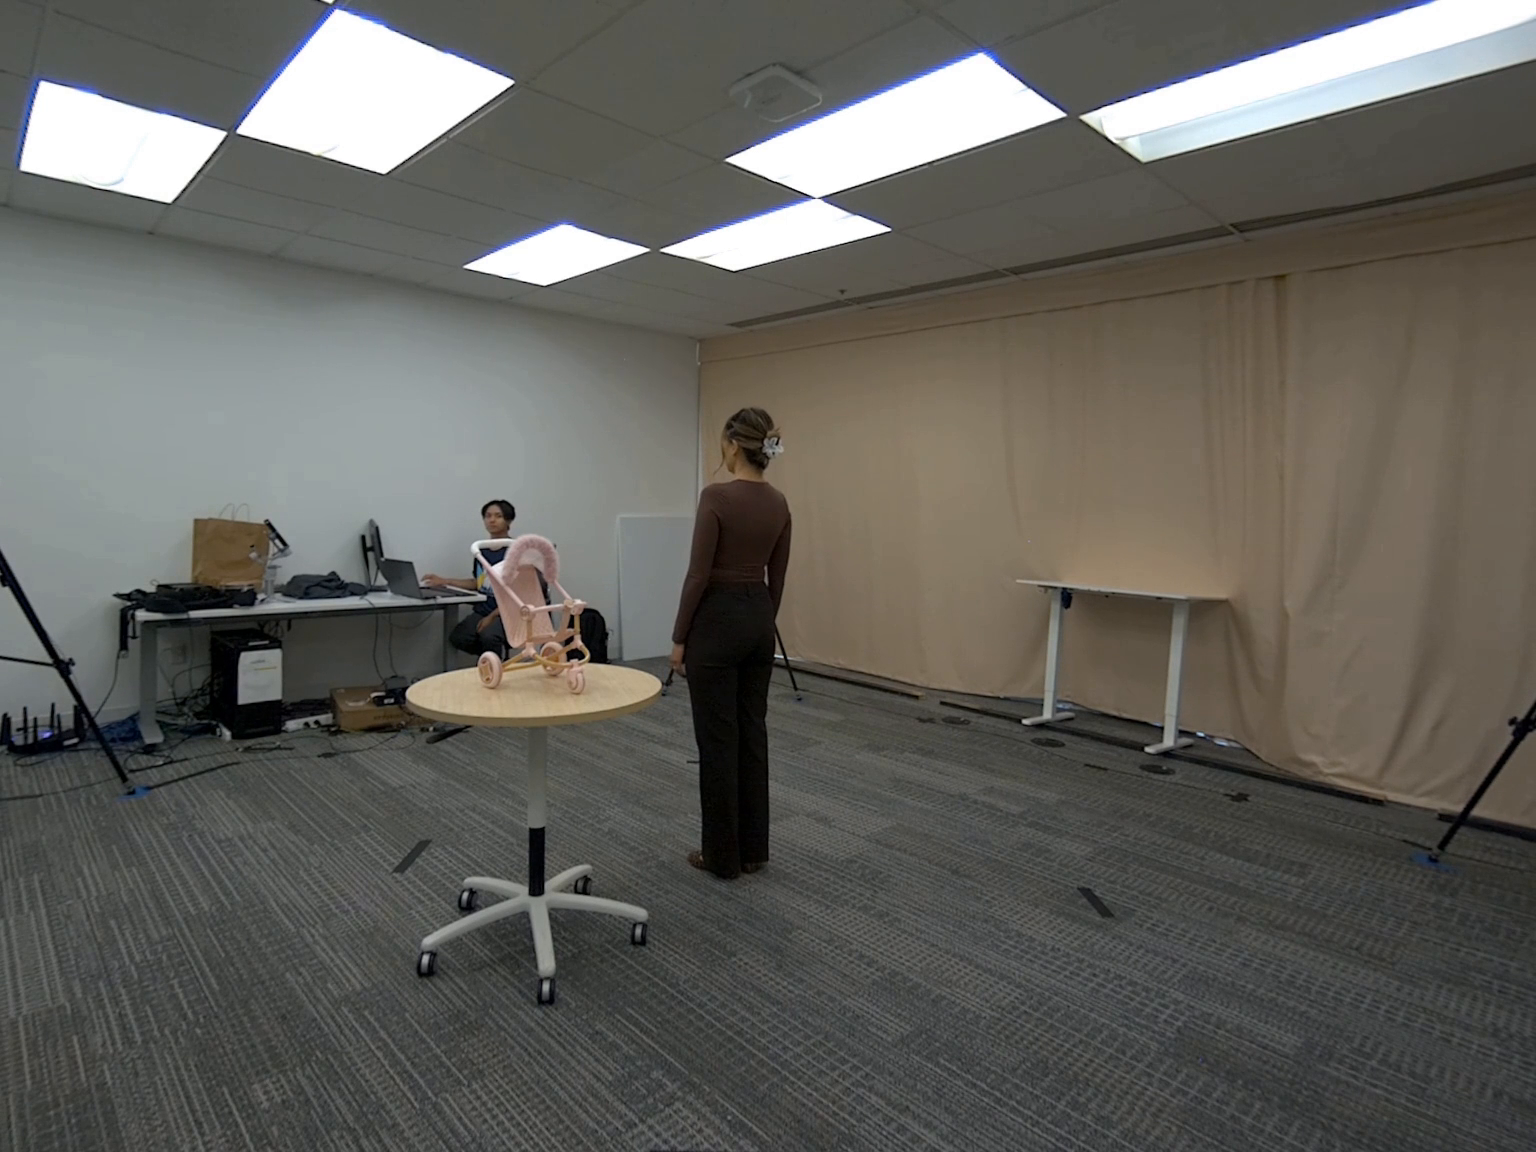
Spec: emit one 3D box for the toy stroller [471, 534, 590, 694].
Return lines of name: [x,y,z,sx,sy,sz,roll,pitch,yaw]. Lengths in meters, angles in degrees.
toy stroller: [-0.729,0.116,2.604,0.347,0.538,0.275,-15,-8,41]
